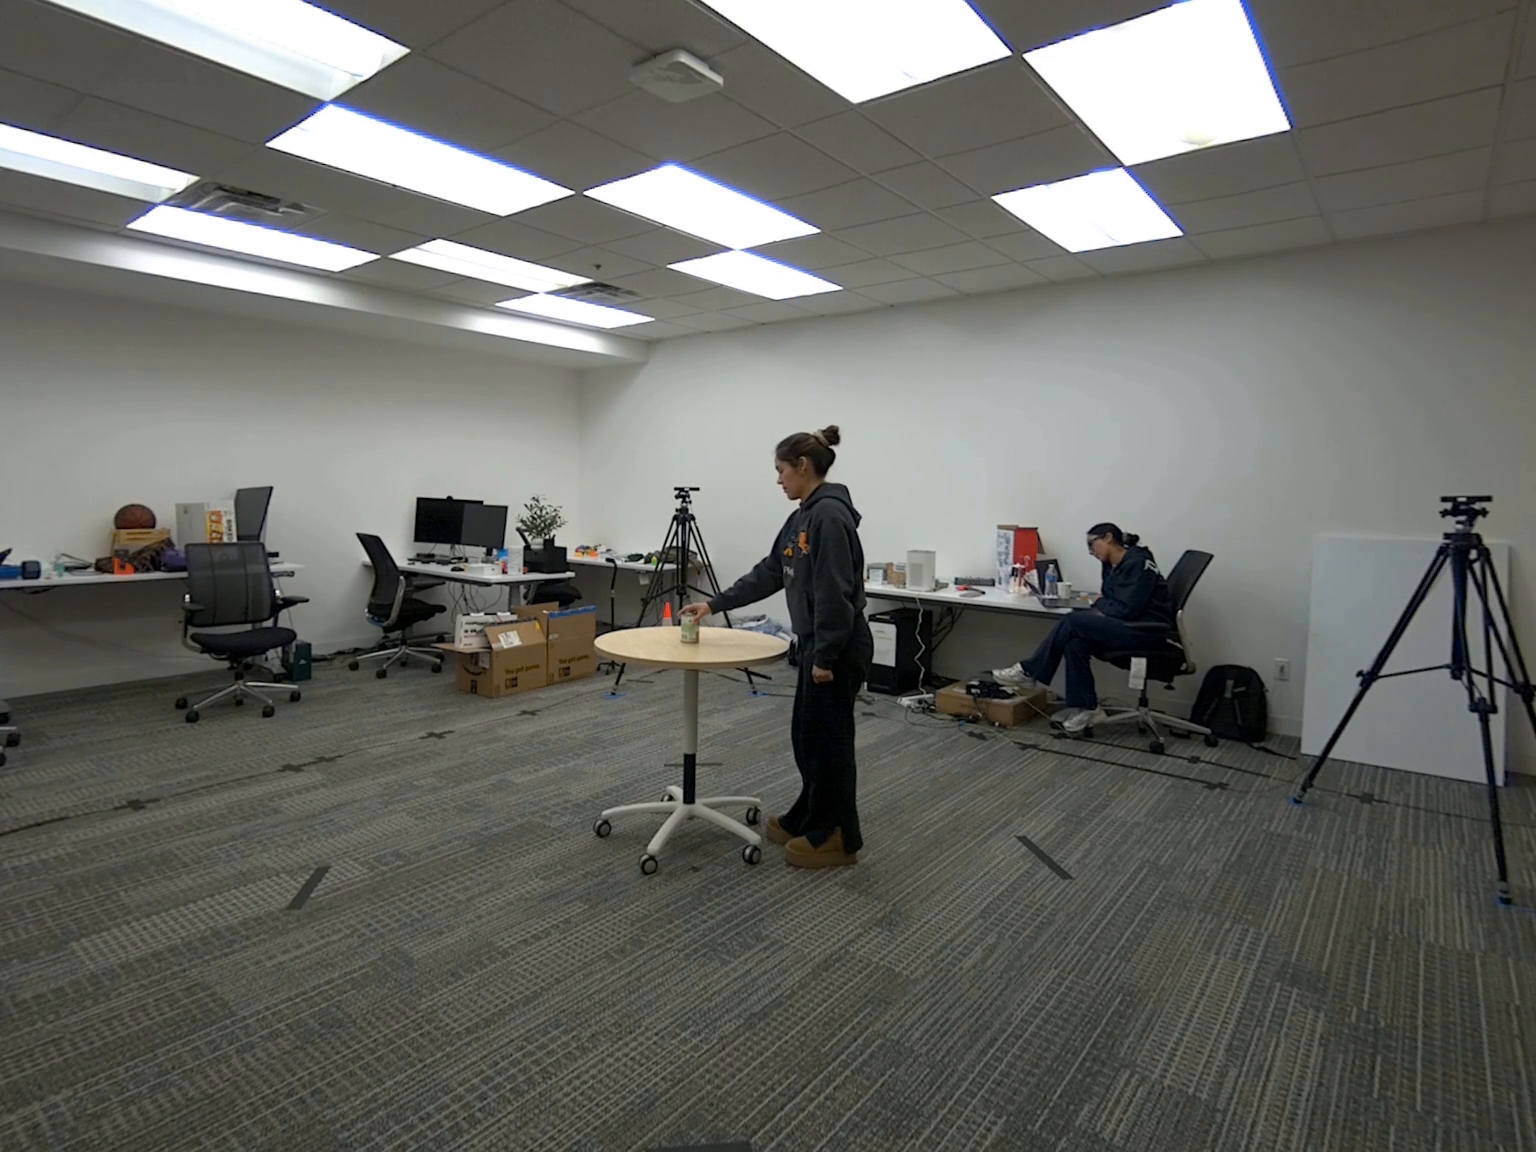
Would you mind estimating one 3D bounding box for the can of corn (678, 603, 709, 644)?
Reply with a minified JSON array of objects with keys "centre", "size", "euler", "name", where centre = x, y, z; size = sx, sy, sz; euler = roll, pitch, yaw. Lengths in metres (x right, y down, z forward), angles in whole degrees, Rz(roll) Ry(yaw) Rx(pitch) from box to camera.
[{"centre":[-0.311,0.204,3.363],"size":[0.074,0.111,0.074],"euler":[4,0,-2],"name":"can of corn"}]
